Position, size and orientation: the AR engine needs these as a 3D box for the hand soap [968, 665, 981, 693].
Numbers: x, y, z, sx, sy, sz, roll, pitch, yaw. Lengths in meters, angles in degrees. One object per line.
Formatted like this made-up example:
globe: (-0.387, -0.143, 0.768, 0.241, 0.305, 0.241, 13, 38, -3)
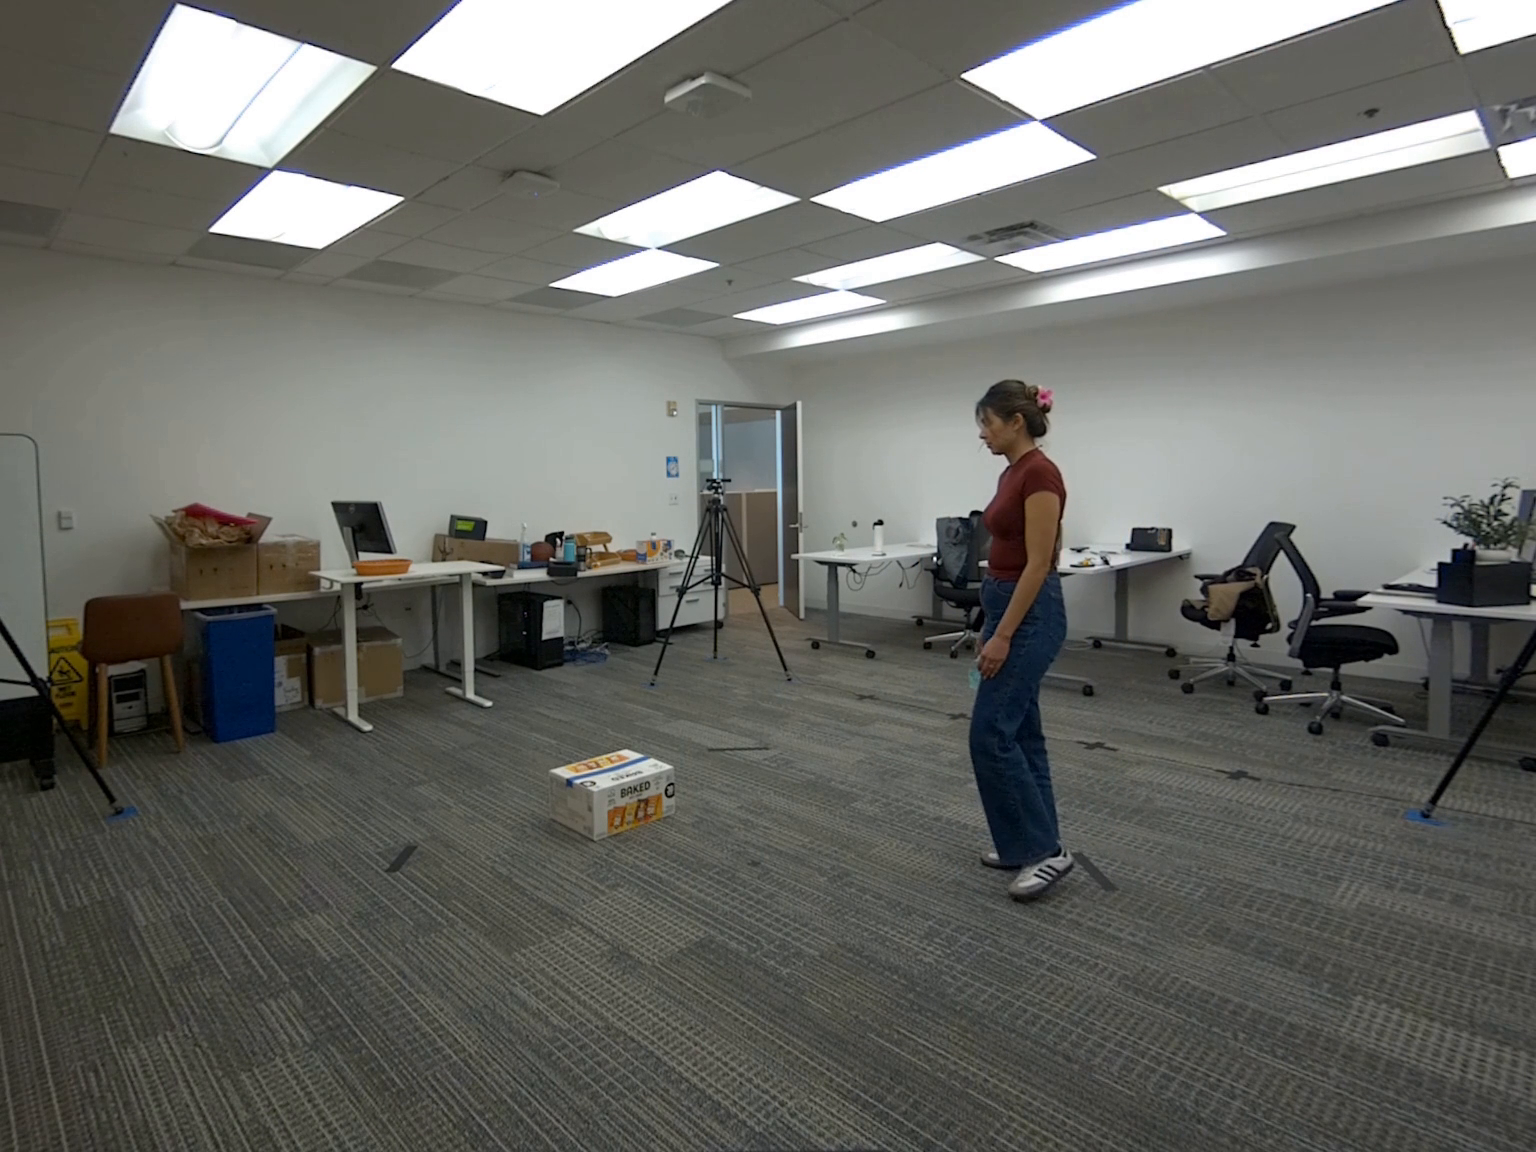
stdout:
hand soap: (0.830, 0.357, 3.285, 0.087, 0.167, 0.042, 12, 11, 37)
